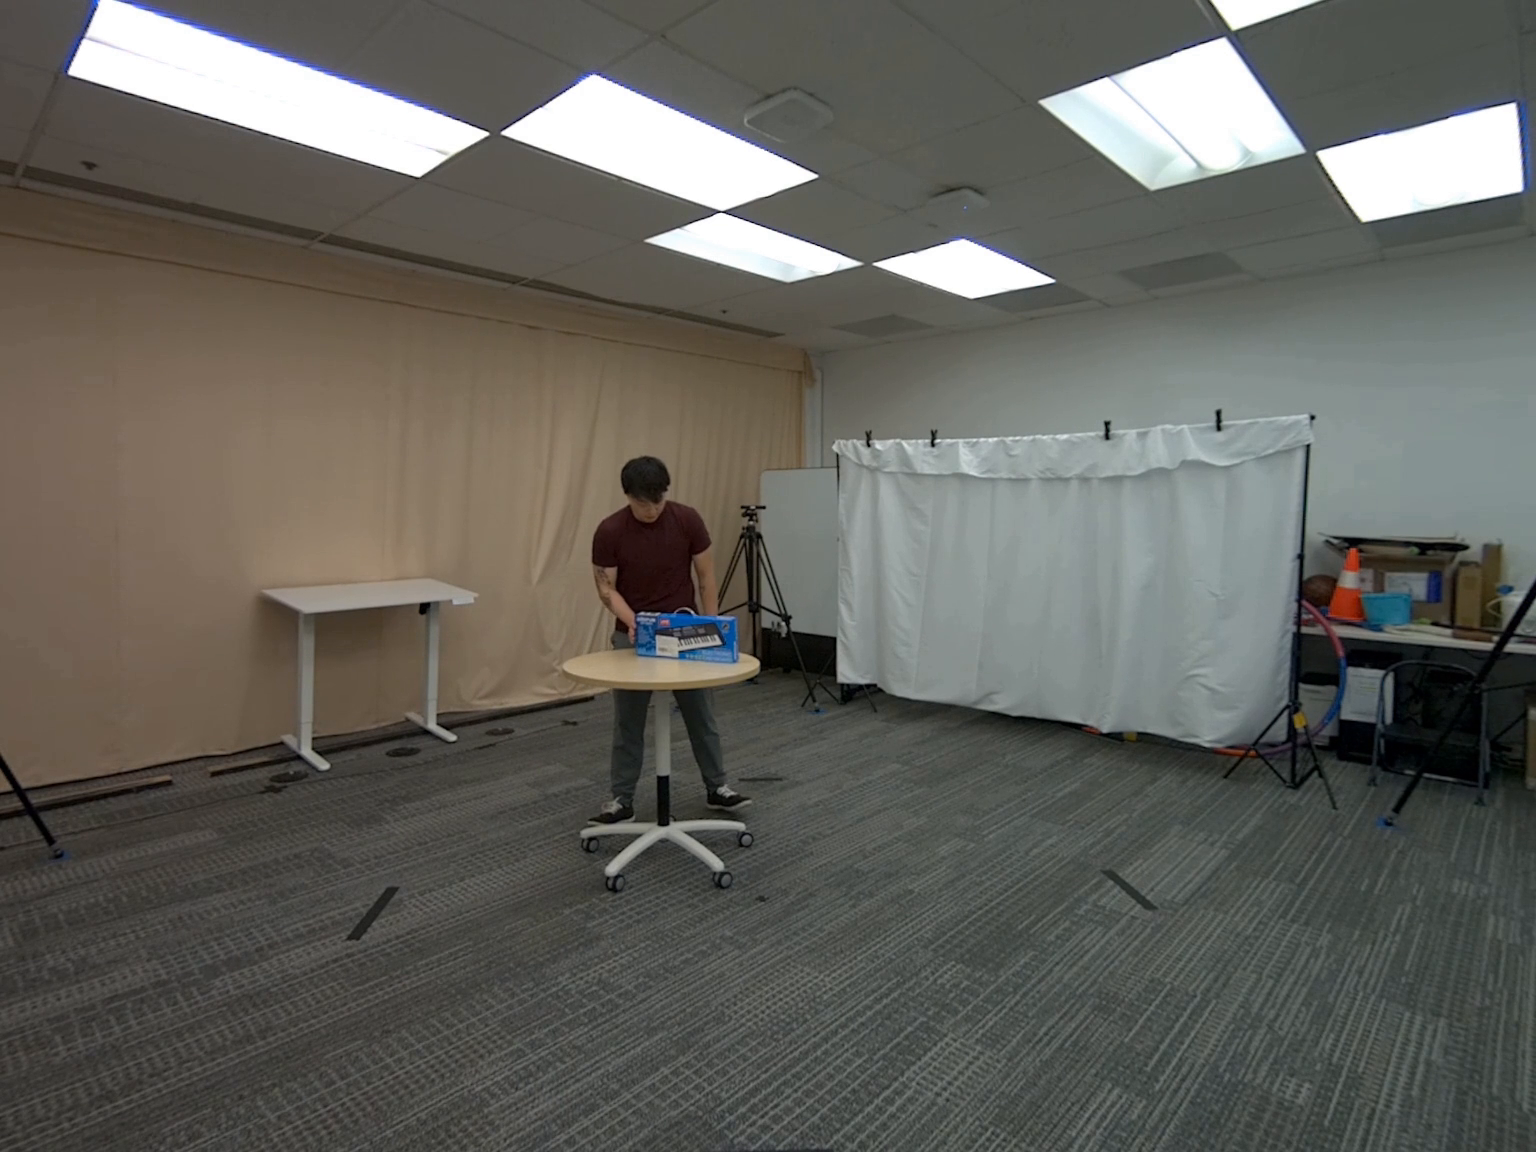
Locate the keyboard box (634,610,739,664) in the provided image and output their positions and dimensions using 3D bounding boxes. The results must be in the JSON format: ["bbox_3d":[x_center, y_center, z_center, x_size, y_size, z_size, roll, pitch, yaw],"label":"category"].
[{"bbox_3d":[-0.328,0.246,3.366,0.447,0.175,0.058,2,8,24],"label":"keyboard box"}]
